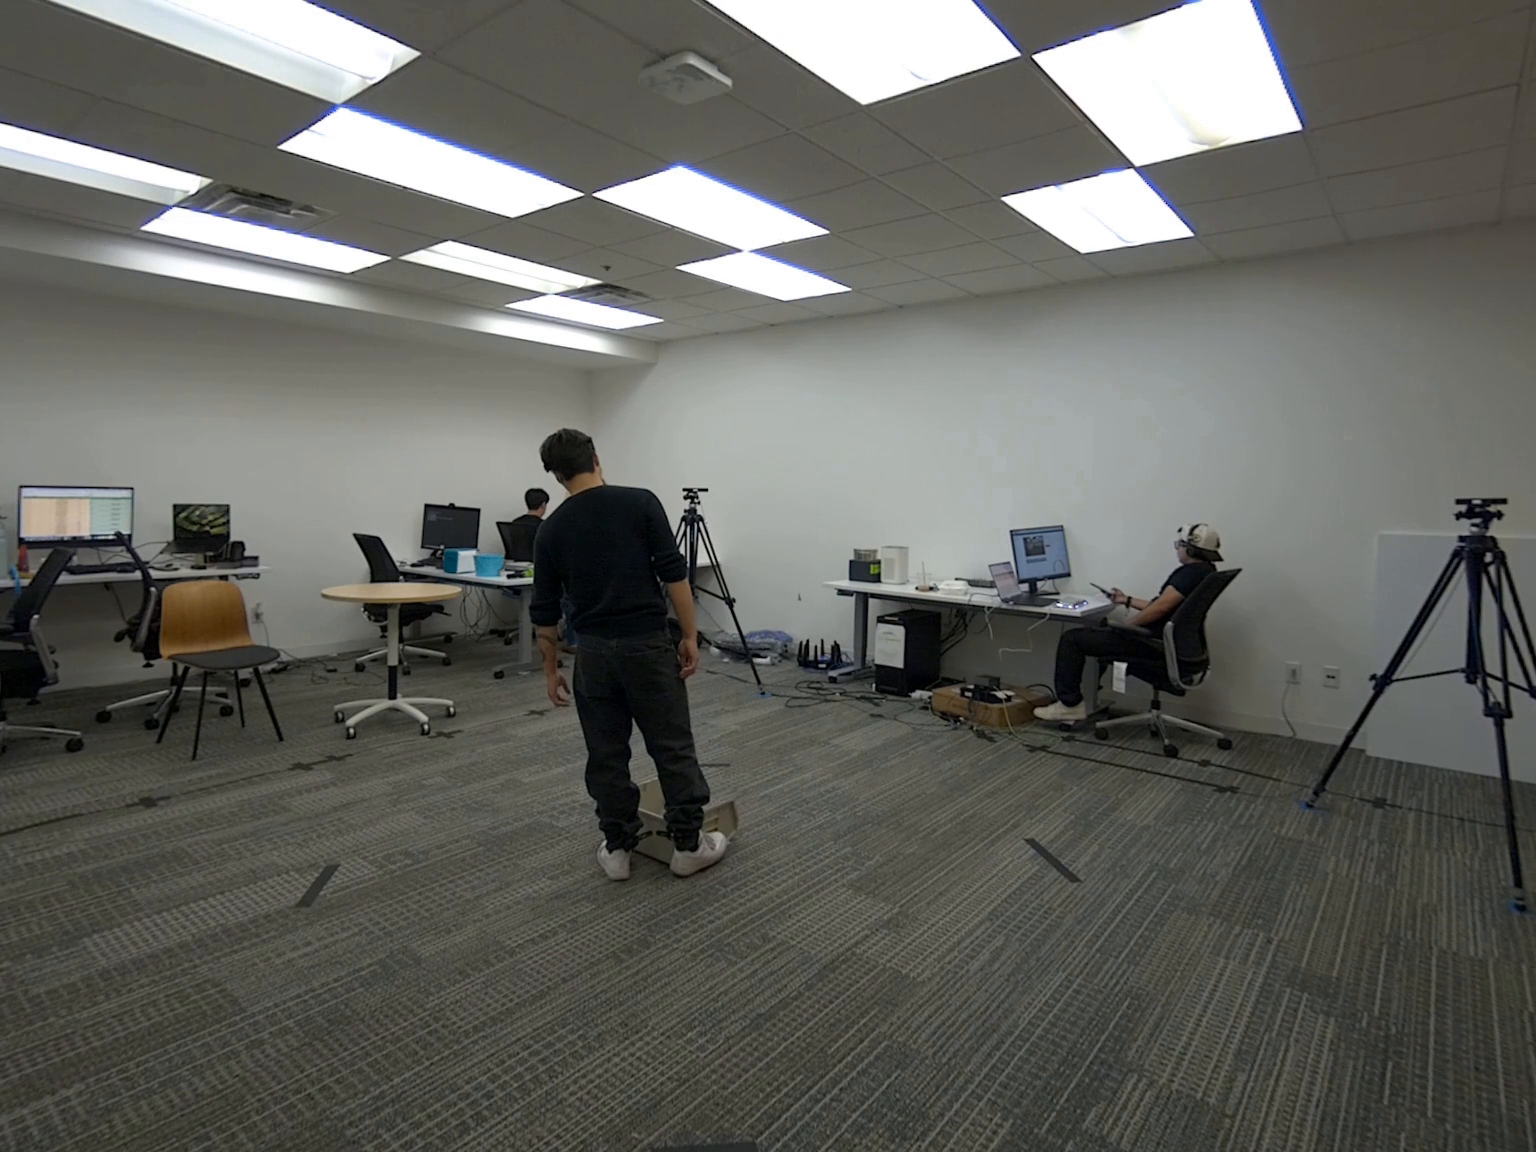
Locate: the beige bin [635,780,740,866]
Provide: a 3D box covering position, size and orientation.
[{"bbox_3d":[-0.403,0.953,3.361,0.436,0.188,0.367,6,8,38],"label":"beige bin"}]
